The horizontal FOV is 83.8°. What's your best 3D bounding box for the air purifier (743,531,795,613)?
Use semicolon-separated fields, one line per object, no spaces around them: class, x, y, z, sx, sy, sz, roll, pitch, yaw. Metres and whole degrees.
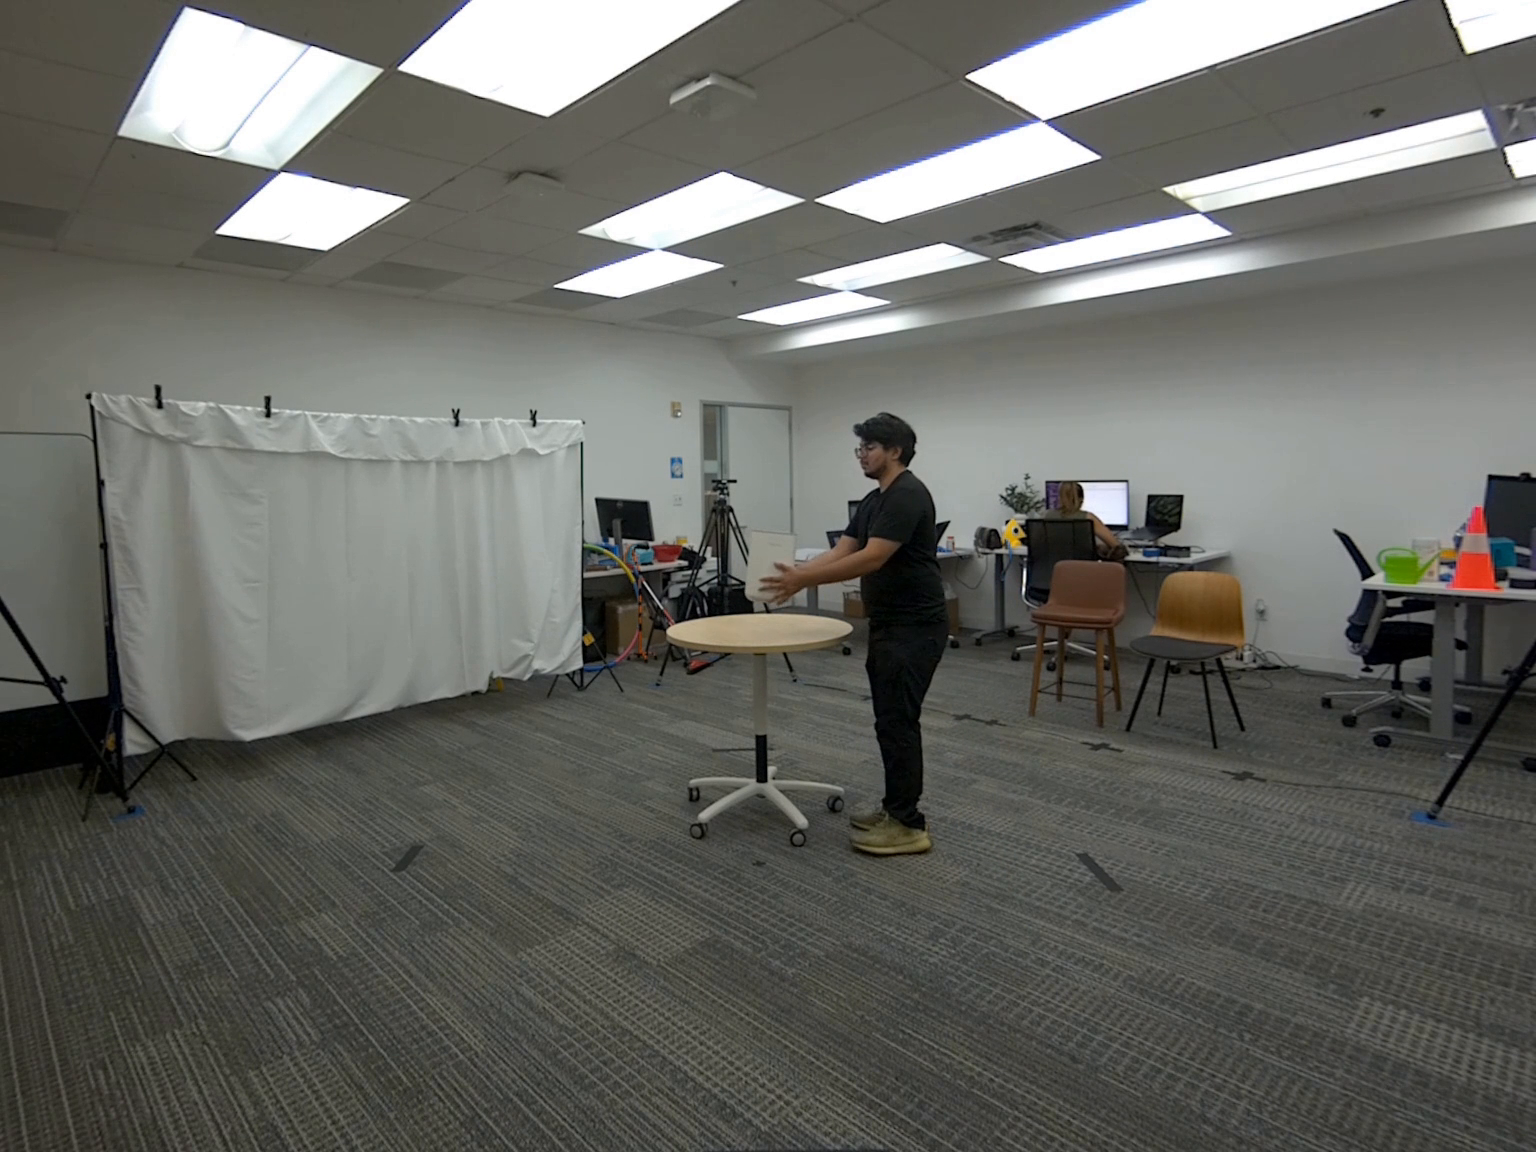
air purifier;0.021;-0.037;3.235;0.169;0.265;0.173;6;1;-10
